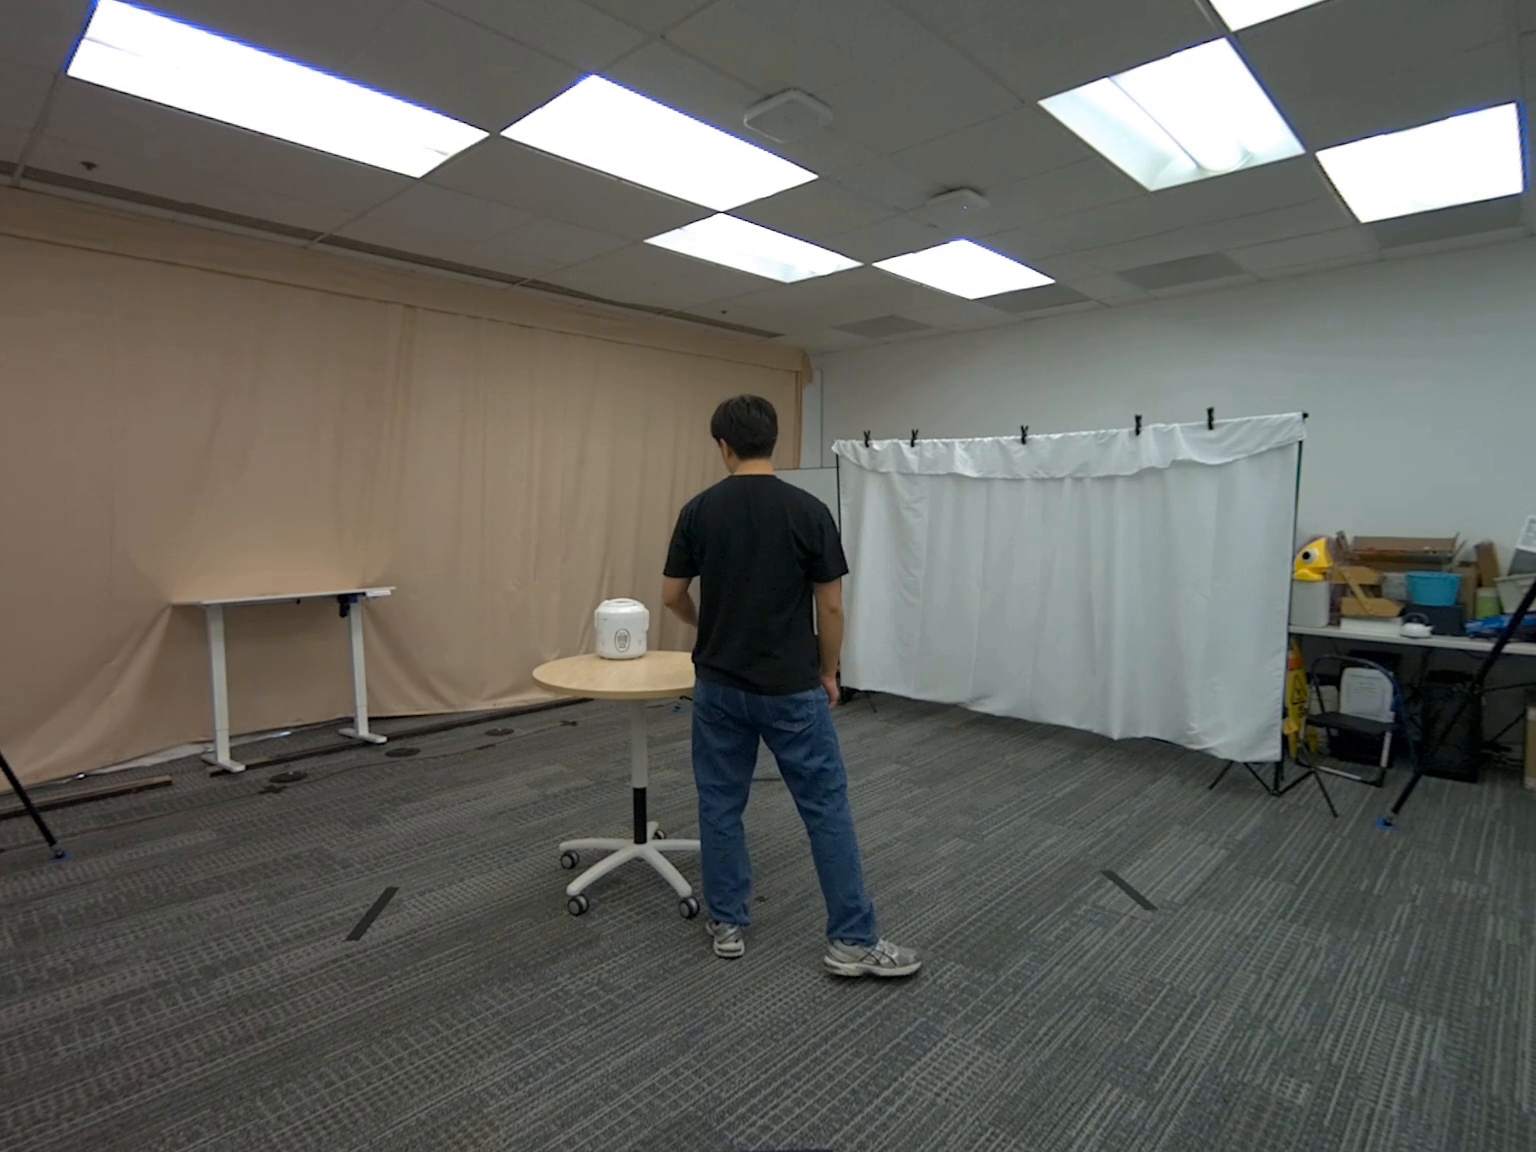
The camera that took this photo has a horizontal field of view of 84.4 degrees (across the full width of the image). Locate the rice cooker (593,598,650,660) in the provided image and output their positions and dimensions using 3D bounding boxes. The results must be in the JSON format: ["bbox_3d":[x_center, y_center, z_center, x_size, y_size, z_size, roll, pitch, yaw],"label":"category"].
[{"bbox_3d":[-0.586,0.207,3.371,0.218,0.232,0.220,-1,2,-10],"label":"rice cooker"}]
